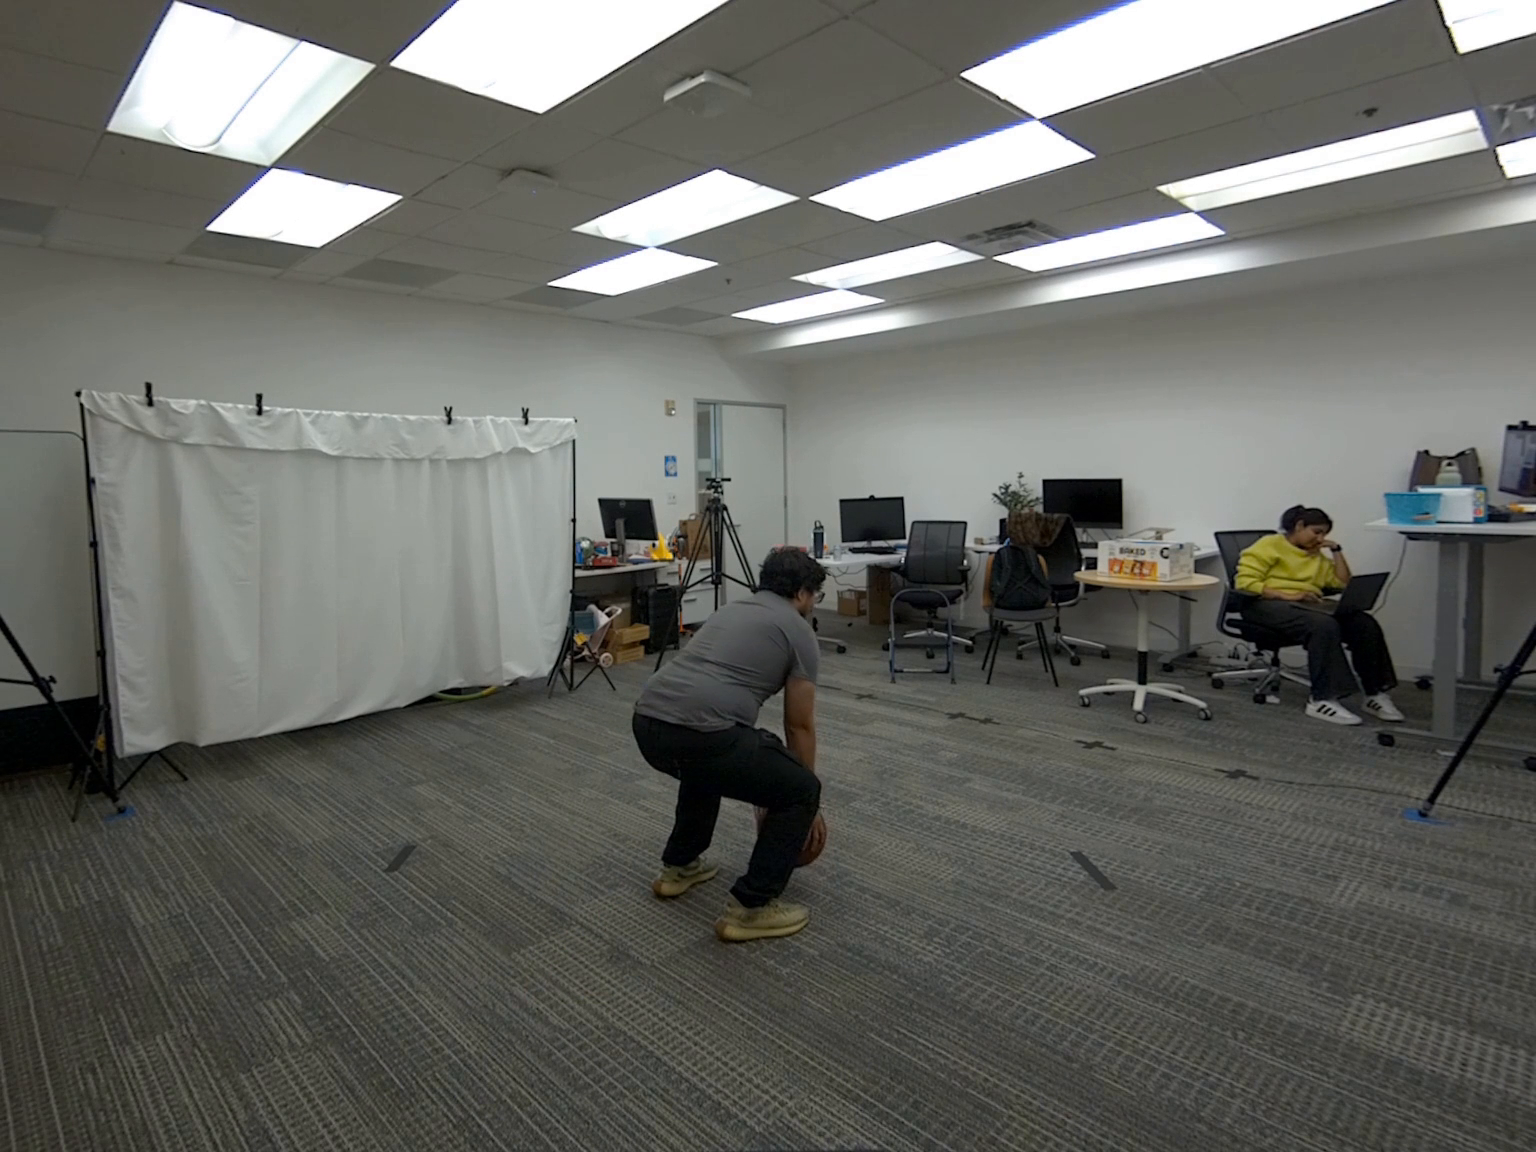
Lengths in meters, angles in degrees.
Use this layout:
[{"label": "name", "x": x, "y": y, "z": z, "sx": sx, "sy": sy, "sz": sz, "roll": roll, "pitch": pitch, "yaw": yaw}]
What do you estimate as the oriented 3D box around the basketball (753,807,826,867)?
[{"label": "basketball", "x": 0.095, "y": 0.861, "z": 2.929, "sx": 0.236, "sy": 0.235, "sz": 0.237, "roll": -1, "pitch": 5, "yaw": -2}]
